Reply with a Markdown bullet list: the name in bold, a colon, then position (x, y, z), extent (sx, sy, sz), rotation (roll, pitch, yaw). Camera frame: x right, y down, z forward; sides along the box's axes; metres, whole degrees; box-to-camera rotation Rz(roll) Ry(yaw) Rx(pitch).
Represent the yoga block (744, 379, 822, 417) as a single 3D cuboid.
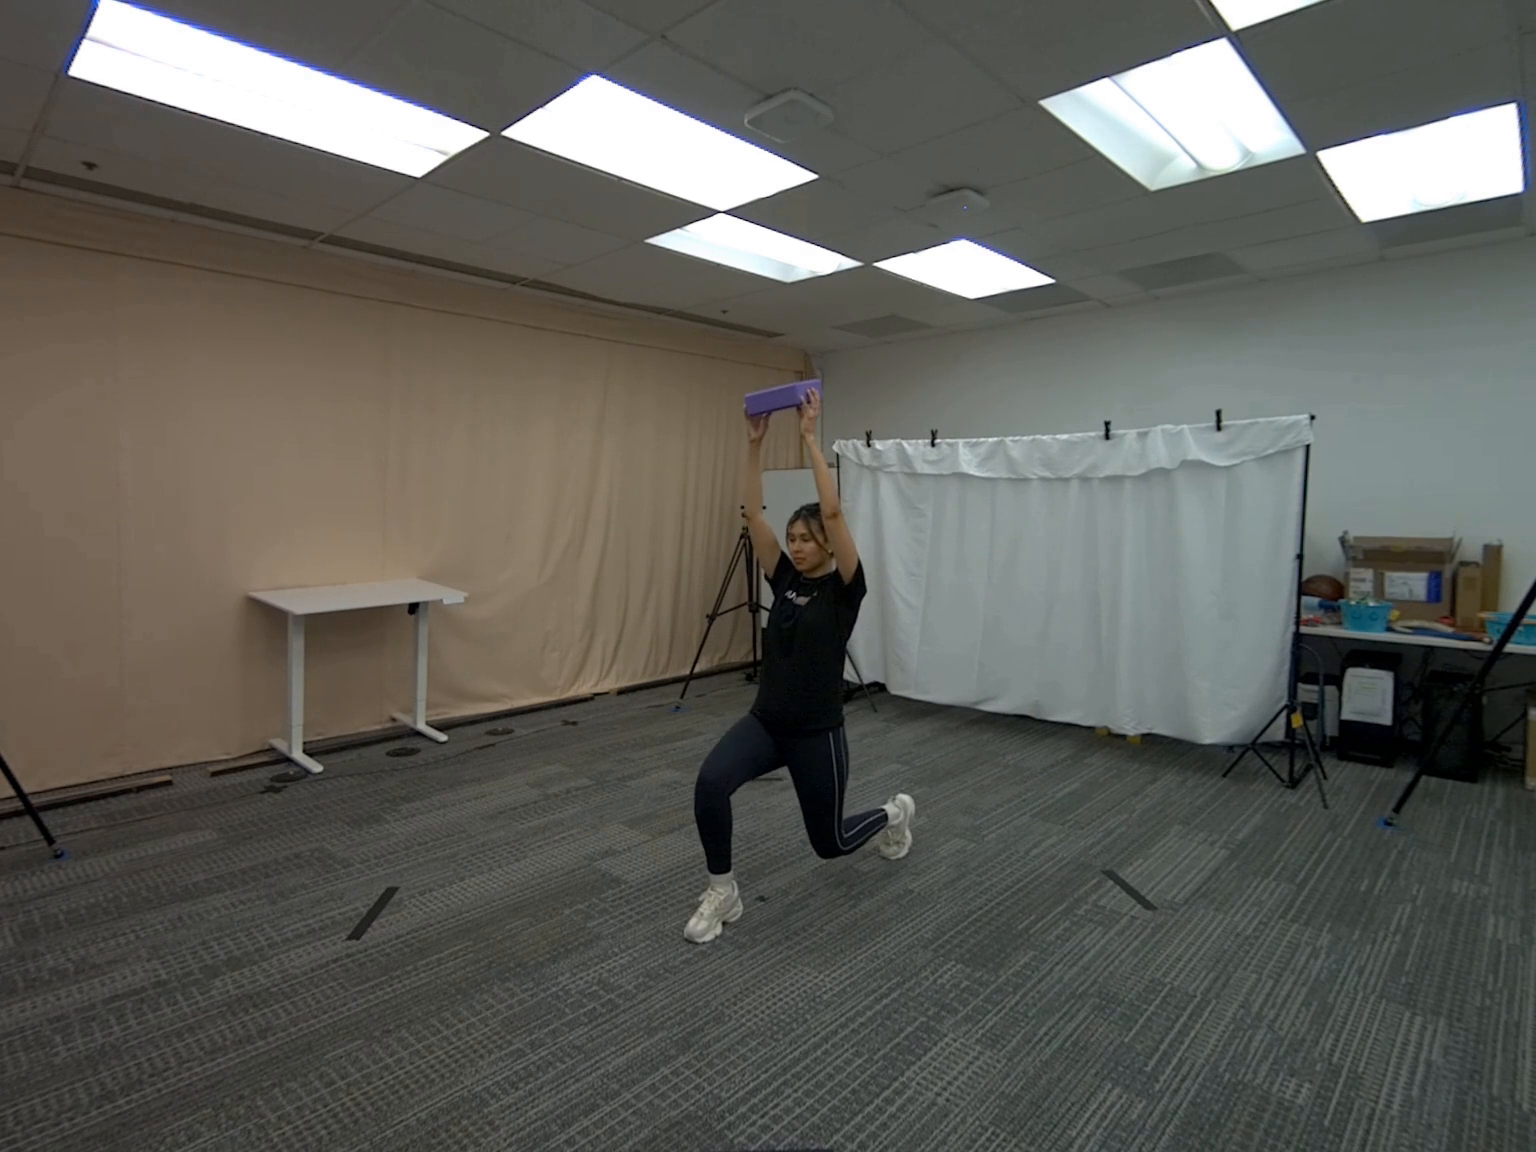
- **yoga block**: position (0.062, -0.611, 2.863), extent (0.236, 0.076, 0.145), rotation (-3, 14, 43)
